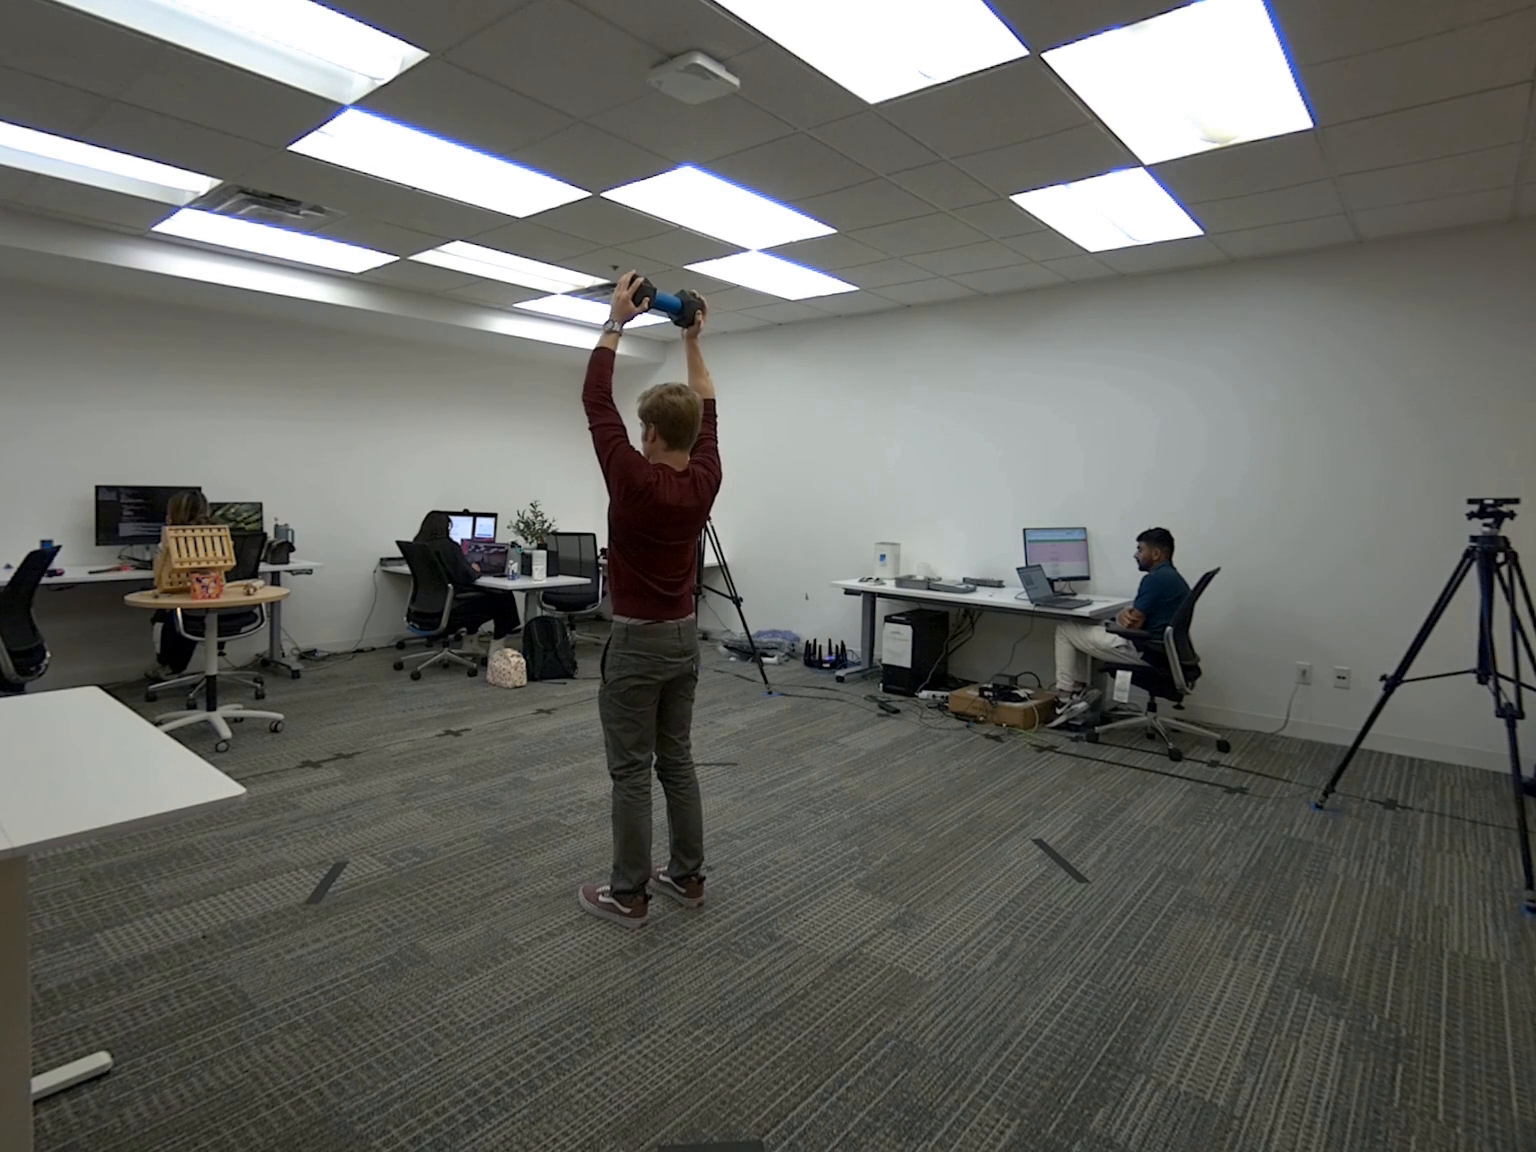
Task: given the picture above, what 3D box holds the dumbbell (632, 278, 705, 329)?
[{"bbox_3d":[-0.360,-0.892,2.783,0.284,0.122,0.113,2,16,-47],"label":"dumbbell"}]
